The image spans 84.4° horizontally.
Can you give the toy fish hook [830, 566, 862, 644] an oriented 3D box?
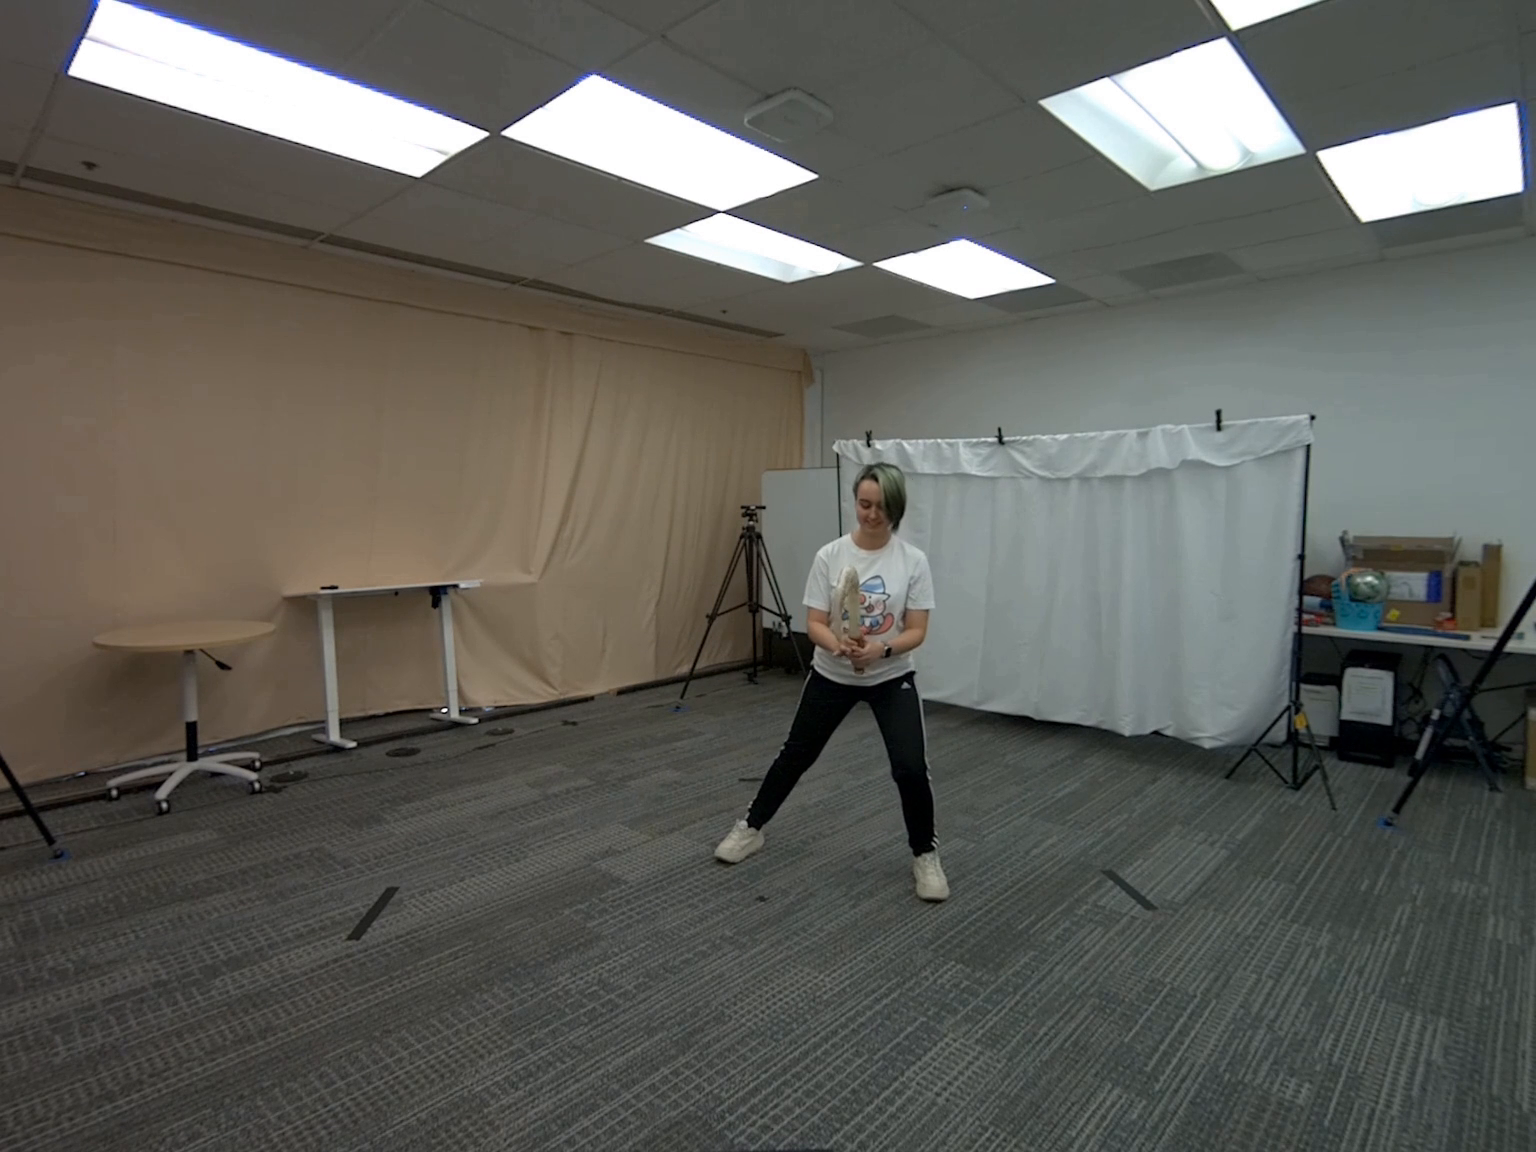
[{"bbox_3d":[0.260,0.190,2.705,0.049,0.493,0.225,7,46,24],"label":"toy fish hook"}]
